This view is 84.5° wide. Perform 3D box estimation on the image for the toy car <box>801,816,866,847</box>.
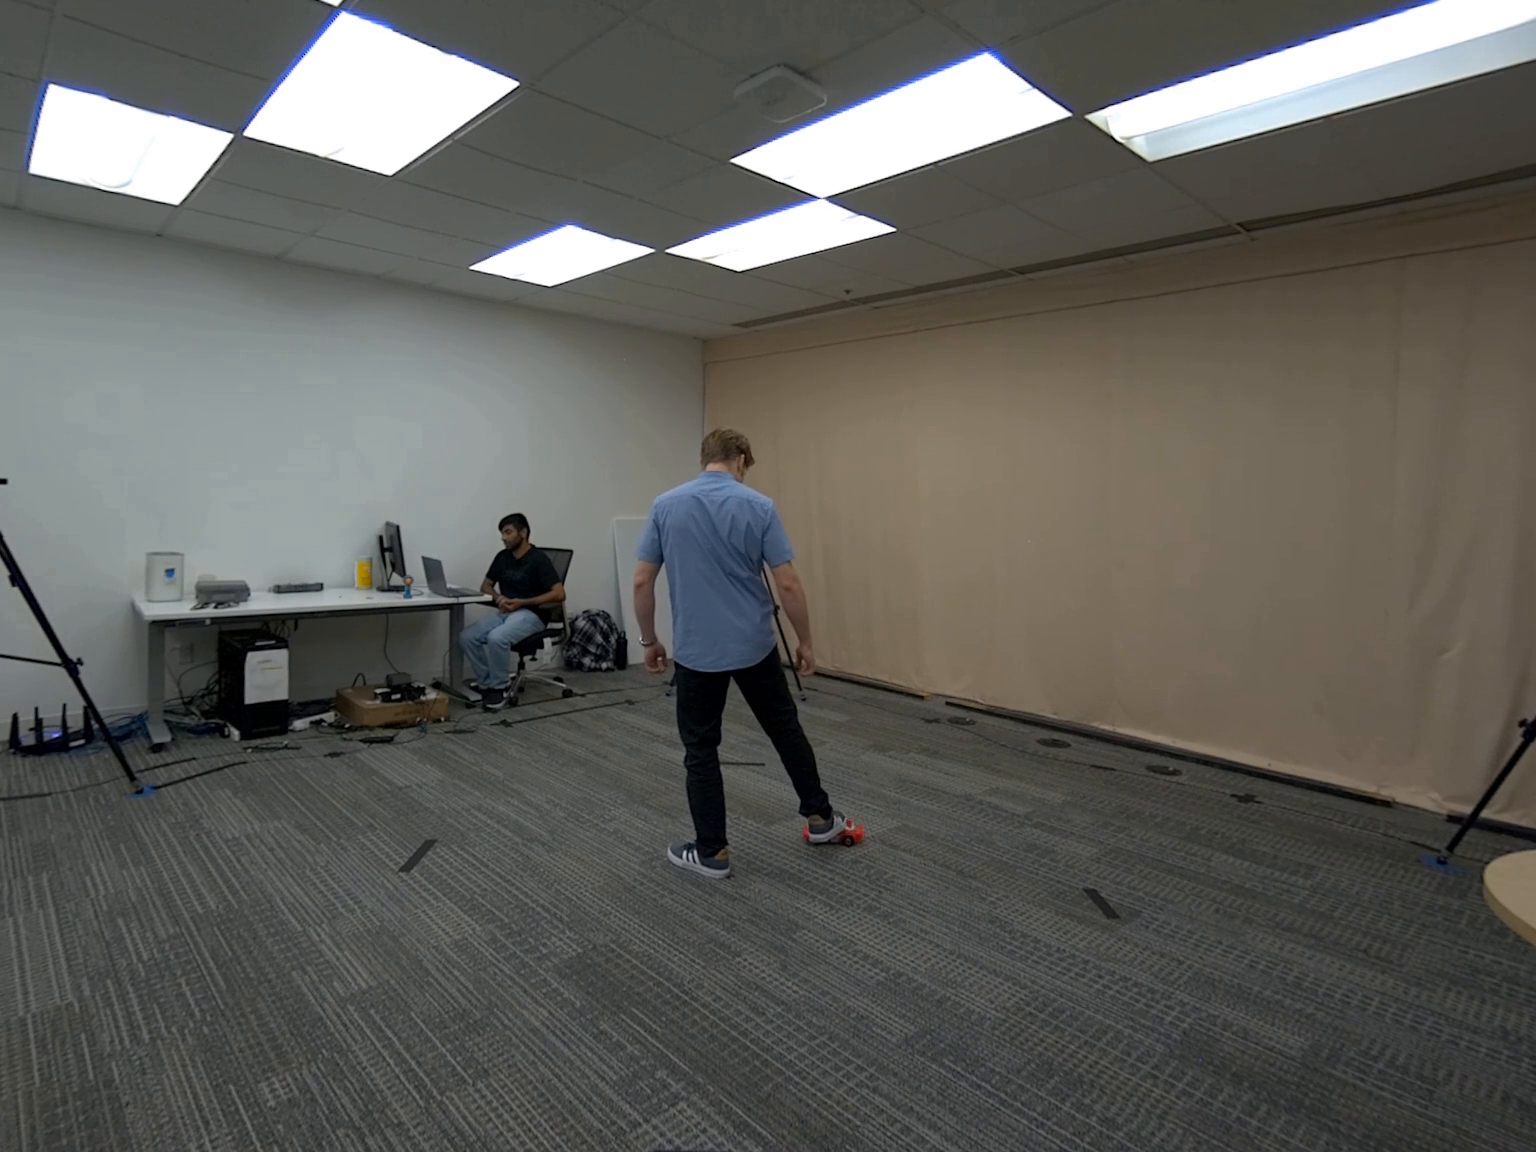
[{"bbox_3d":[0.257,1.055,3.456,0.254,0.083,0.131,-11,6,0],"label":"toy car"}]
